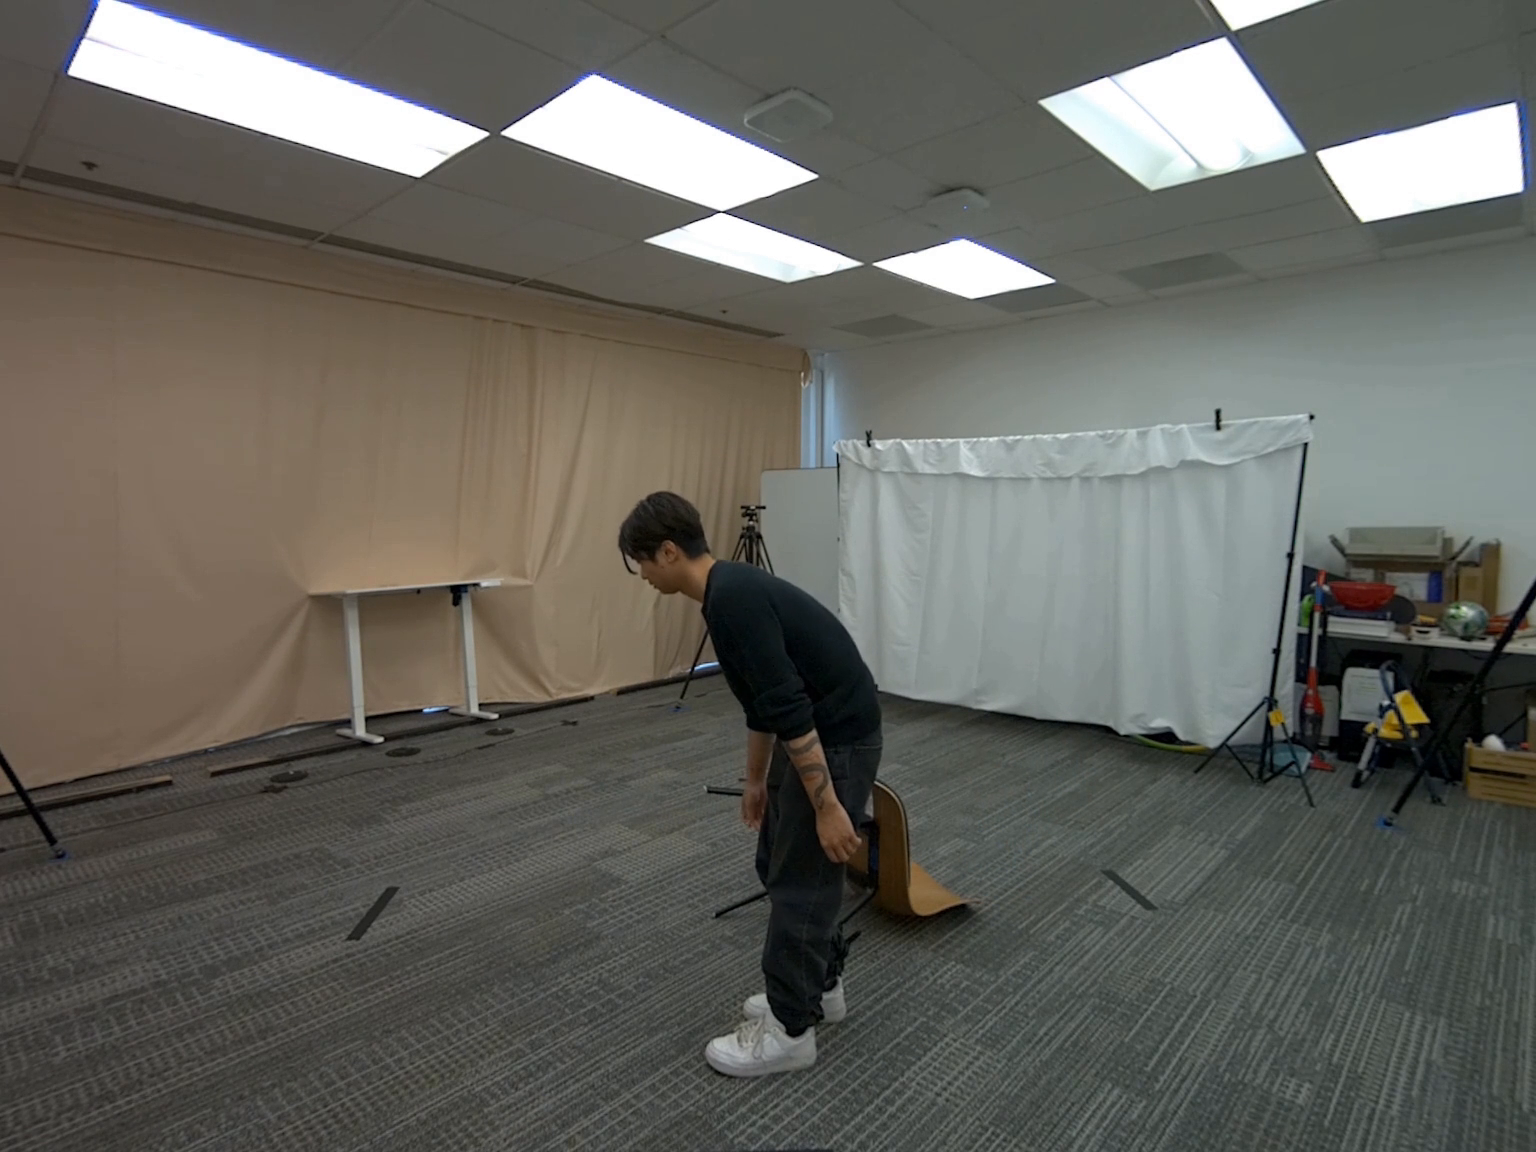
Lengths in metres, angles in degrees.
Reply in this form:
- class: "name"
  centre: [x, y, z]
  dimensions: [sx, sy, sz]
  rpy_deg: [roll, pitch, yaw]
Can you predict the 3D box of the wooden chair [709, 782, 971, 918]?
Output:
- class: "wooden chair"
  centre: [0.288, 0.900, 2.805]
  dimensions: [0.856, 0.522, 0.491]
  rpy_deg: [-1, 4, -26]
